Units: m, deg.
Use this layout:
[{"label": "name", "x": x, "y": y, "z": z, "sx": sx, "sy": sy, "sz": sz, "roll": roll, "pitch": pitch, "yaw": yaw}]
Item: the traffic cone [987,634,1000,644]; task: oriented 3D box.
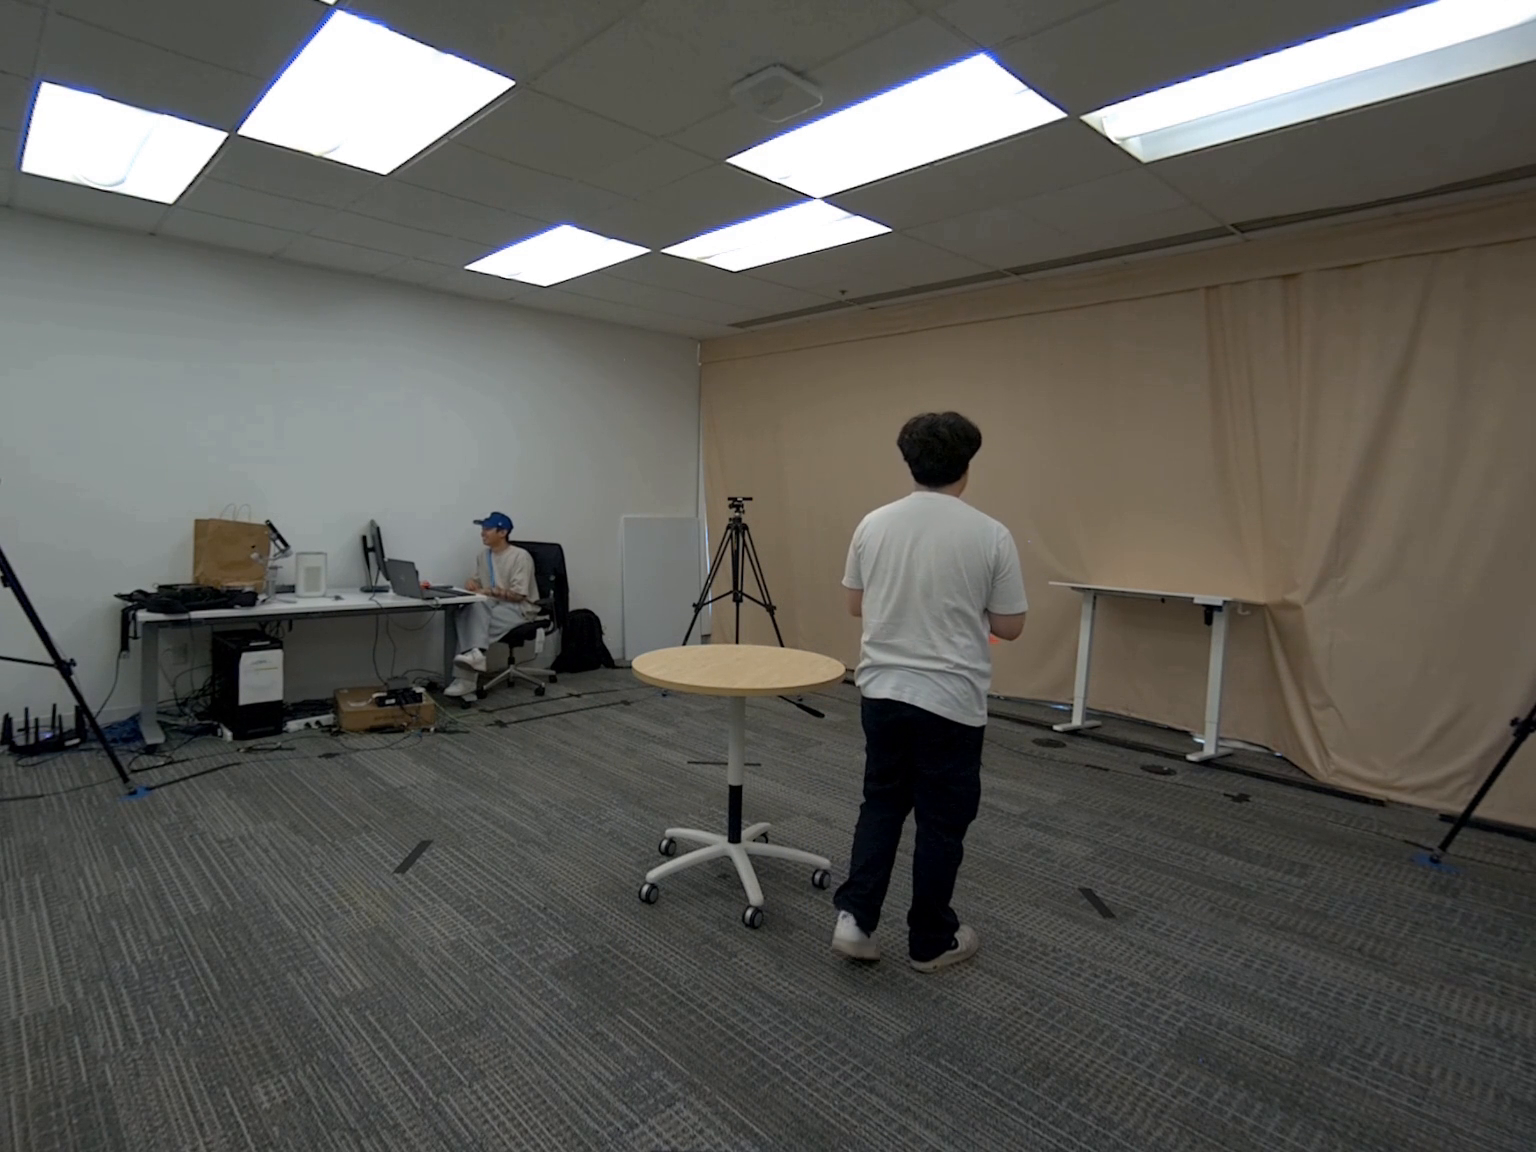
[{"label": "traffic cone", "x": 0.635, "y": 0.019, "z": 2.740, "sx": 0.204, "sy": 0.383, "sz": 0.205, "roll": -1, "pitch": 2, "yaw": 3}]
